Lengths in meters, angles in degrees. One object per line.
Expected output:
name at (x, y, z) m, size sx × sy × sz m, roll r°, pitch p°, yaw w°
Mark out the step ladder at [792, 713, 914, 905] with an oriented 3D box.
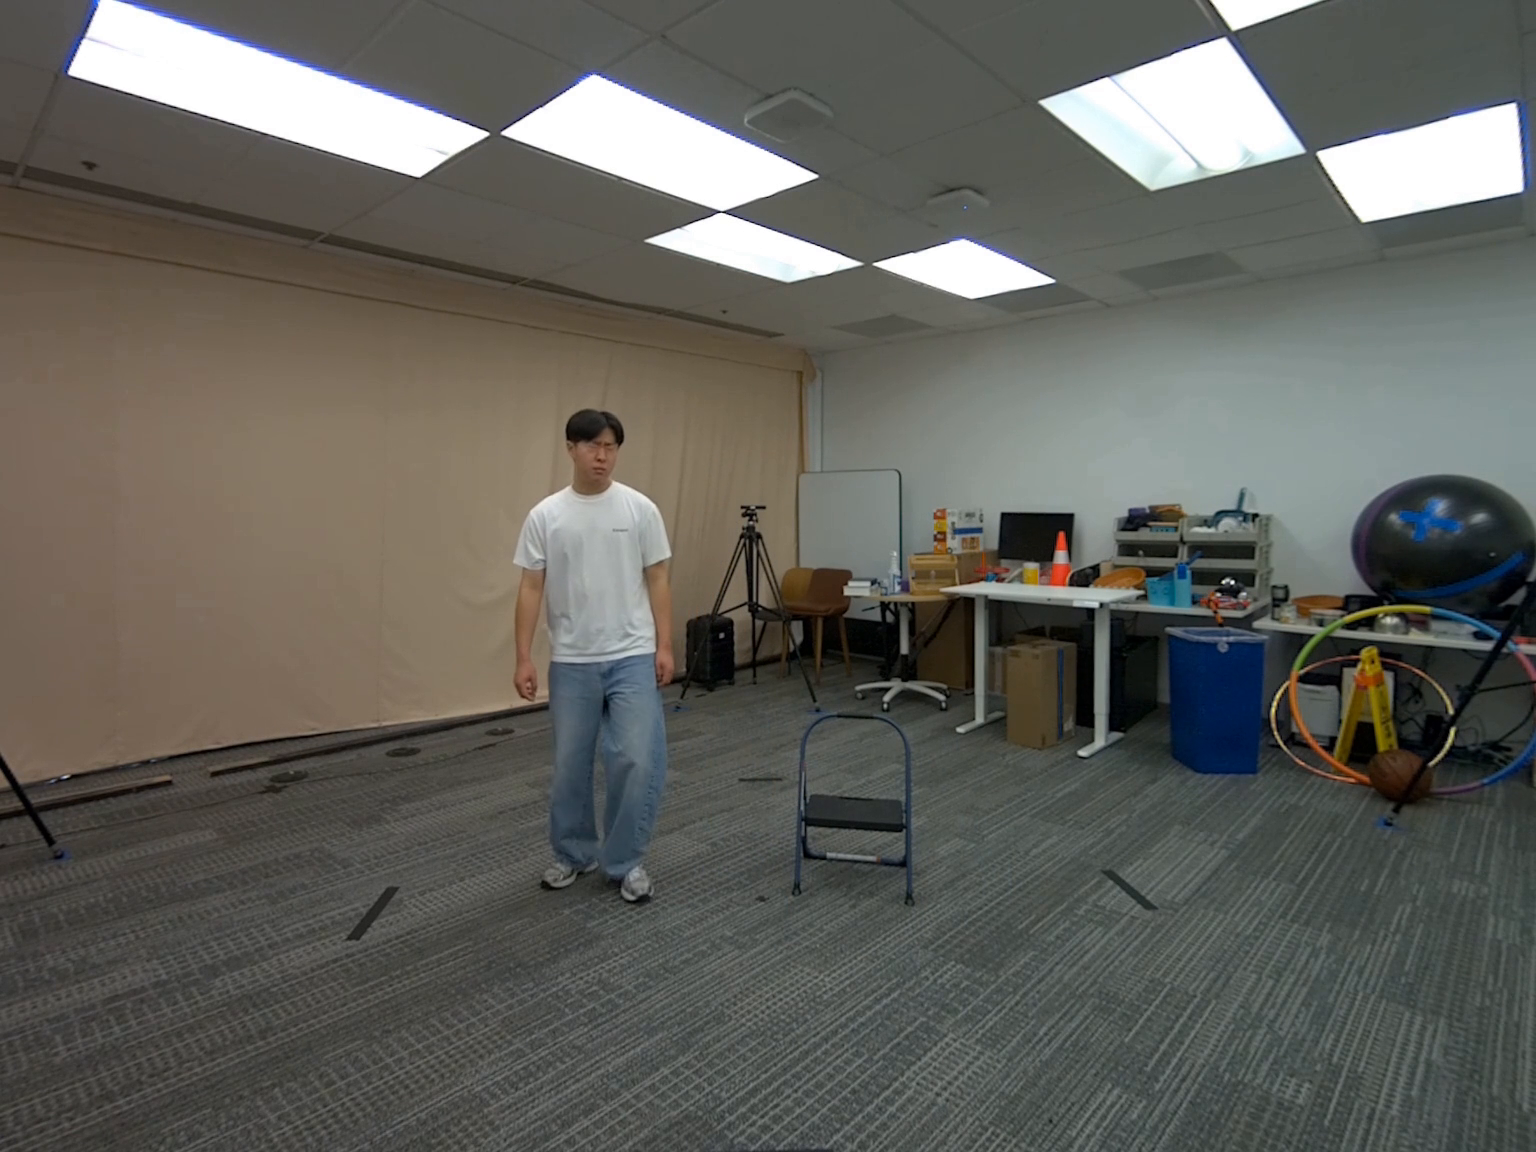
step ladder at (0.329, 0.828, 3.121) m, size 0.435 × 0.605 × 0.346 m, roll 1°, pitch 4°, yaw 9°
